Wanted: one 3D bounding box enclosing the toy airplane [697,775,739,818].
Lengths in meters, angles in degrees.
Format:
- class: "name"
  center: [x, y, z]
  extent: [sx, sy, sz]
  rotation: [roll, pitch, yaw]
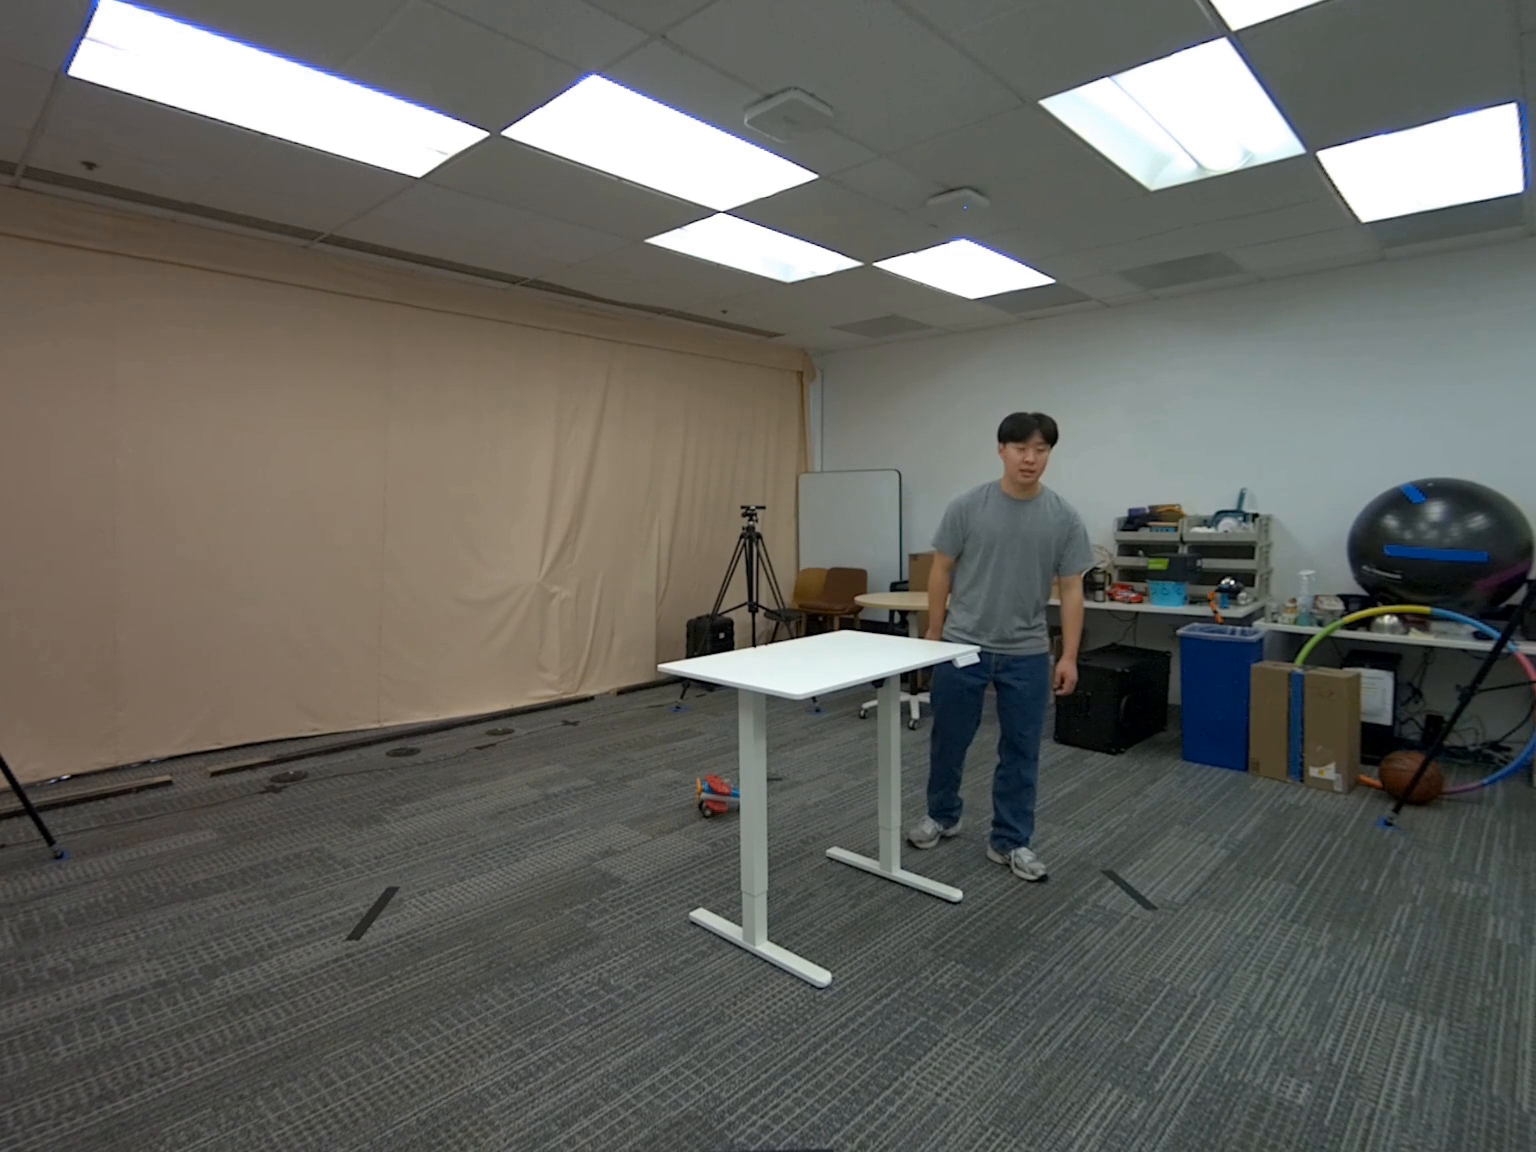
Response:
- class: "toy airplane"
  center: [-0.207, 1.000, 3.844]
  extent: [0.251, 0.156, 0.259]
  rotation: [-5, 6, -44]
